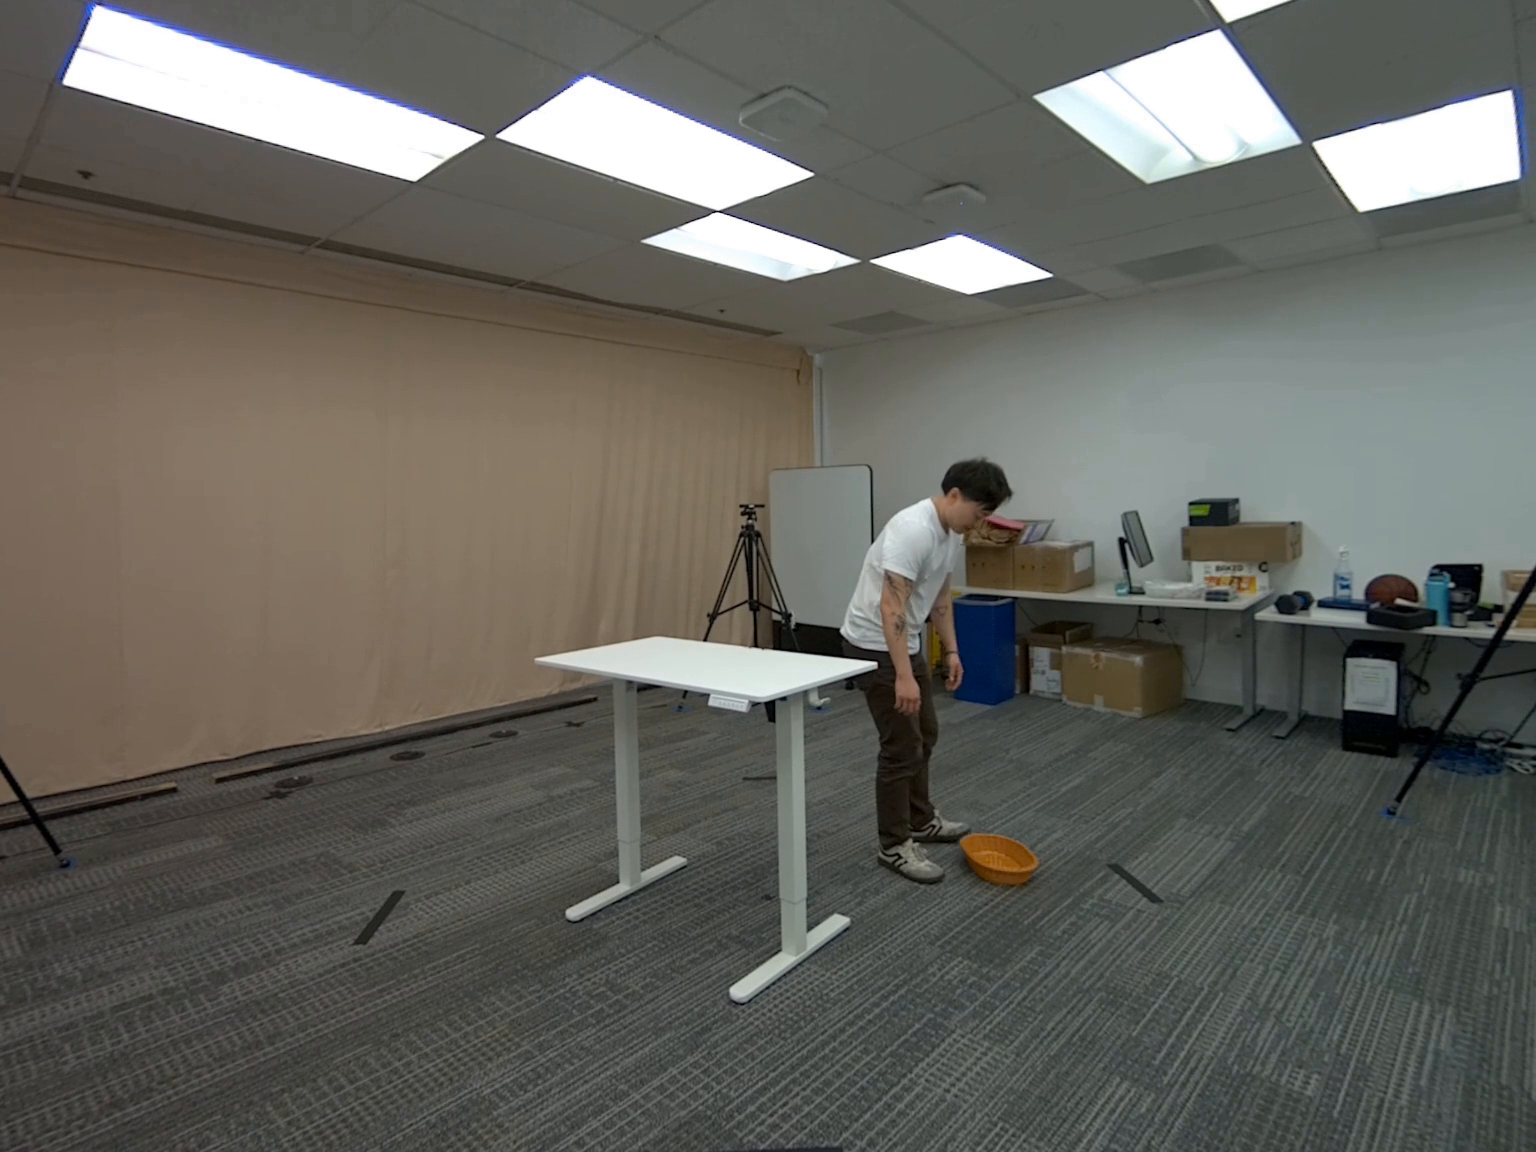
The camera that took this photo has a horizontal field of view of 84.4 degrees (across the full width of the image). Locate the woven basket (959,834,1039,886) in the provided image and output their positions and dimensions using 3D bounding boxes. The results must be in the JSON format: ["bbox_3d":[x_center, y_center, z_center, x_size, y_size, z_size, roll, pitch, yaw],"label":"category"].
[{"bbox_3d":[0.874,1.074,3.175,0.252,0.073,0.352,0,4,-3],"label":"woven basket"}]
